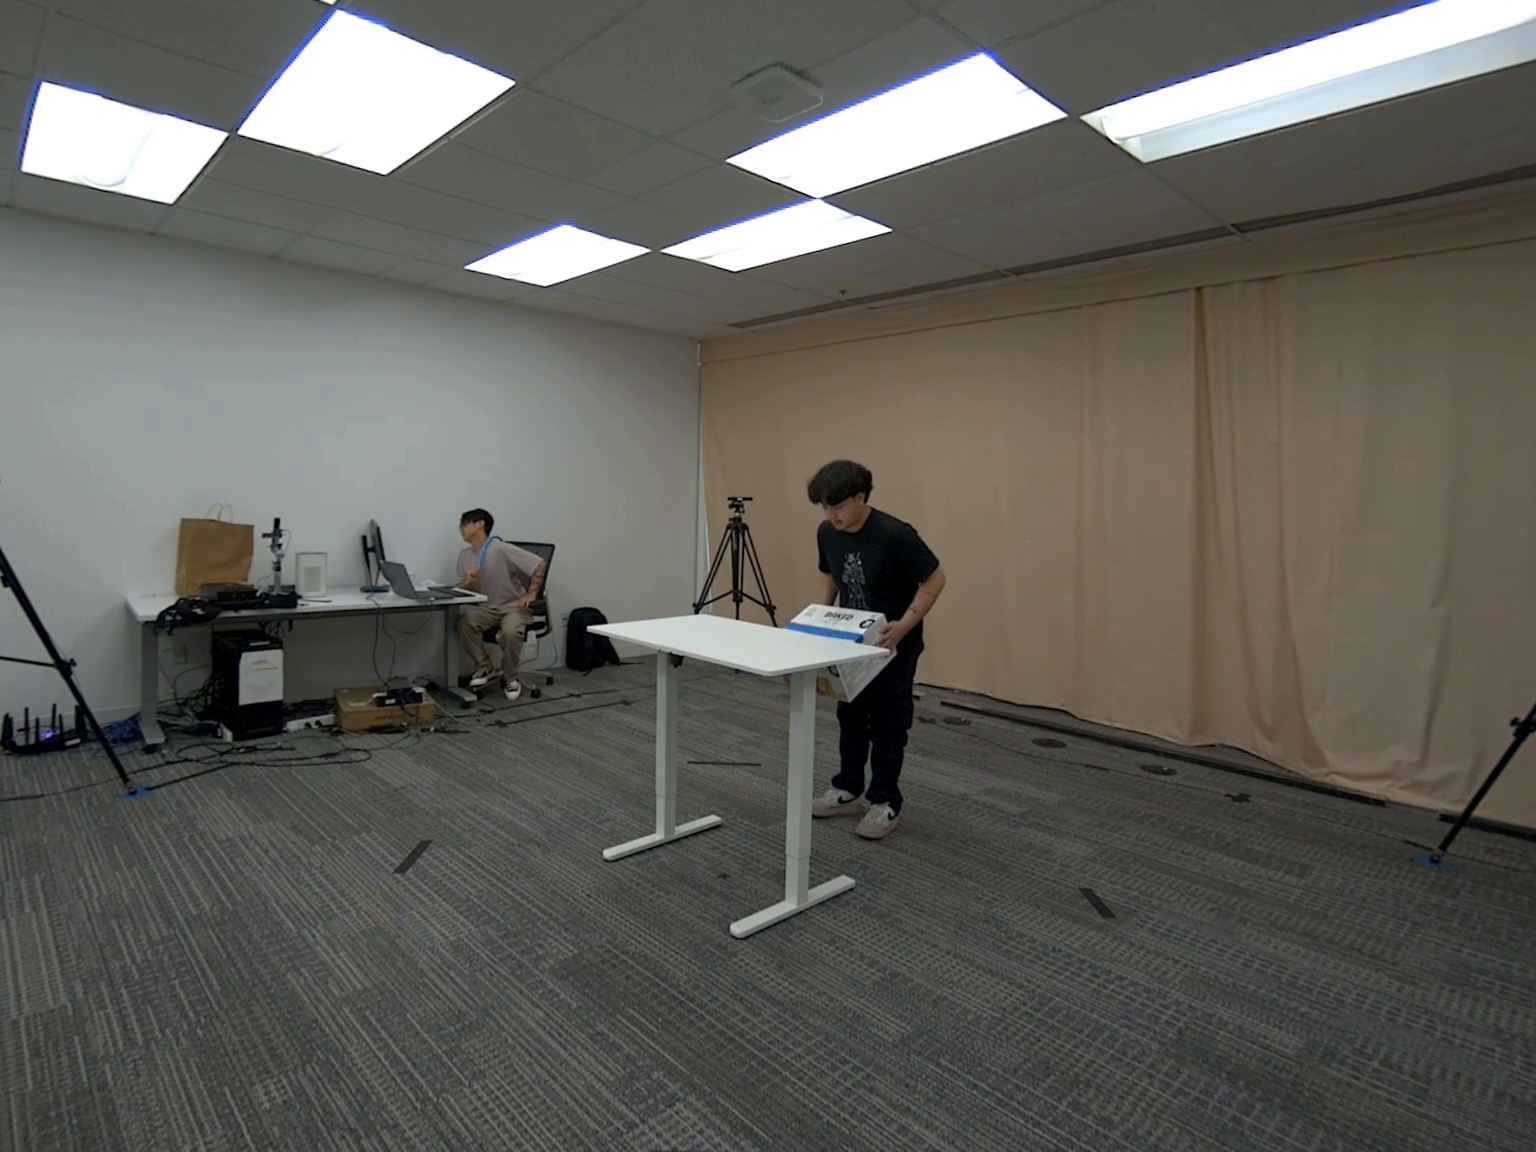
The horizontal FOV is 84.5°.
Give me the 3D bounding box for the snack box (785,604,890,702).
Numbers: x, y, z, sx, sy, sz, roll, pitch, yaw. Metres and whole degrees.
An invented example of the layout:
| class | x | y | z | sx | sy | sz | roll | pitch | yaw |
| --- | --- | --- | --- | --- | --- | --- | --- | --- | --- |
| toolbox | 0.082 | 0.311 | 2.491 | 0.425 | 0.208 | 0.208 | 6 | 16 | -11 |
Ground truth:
| class | x | y | z | sx | sy | sz | roll | pitch | yaw |
| --- | --- | --- | --- | --- | --- | --- | --- | --- | --- |
| snack box | 0.245 | 0.314 | 3.491 | 0.415 | 0.201 | 0.339 | 6 | 36 | 46 |
